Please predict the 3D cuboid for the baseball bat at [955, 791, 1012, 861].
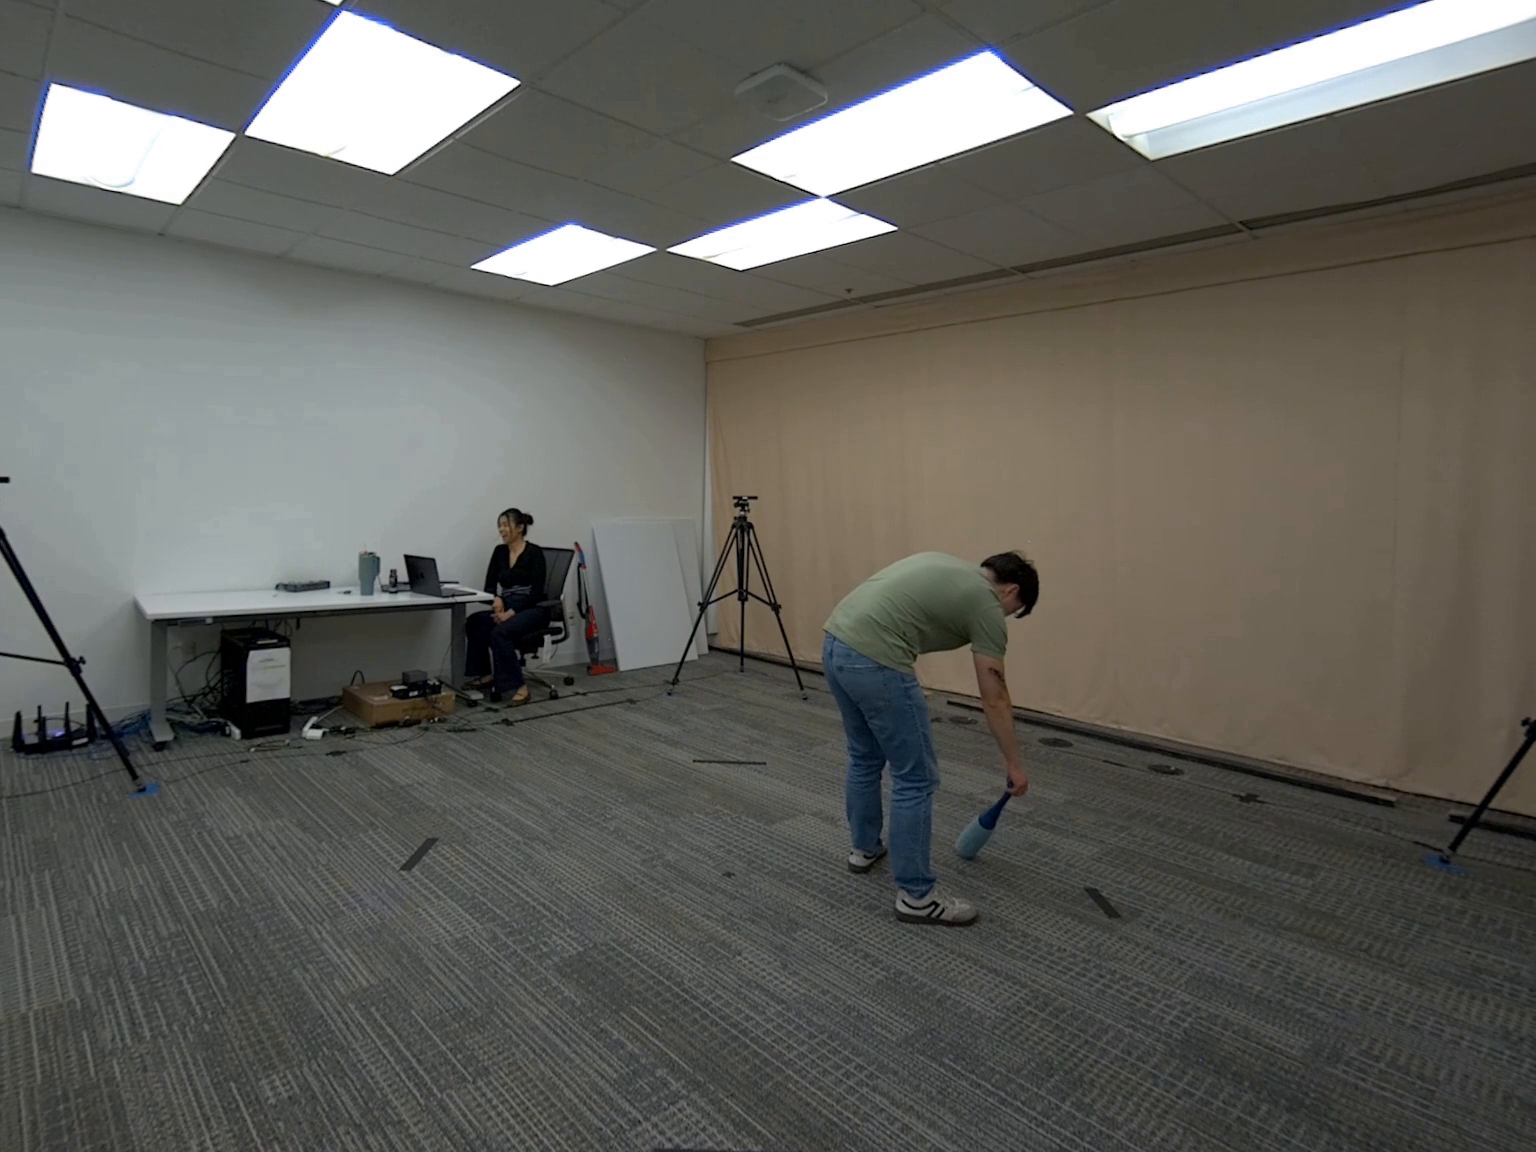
[{"bbox_3d":[0.813,0.906,3.142,0.088,0.534,0.091,6,47,-8],"label":"baseball bat"}]
